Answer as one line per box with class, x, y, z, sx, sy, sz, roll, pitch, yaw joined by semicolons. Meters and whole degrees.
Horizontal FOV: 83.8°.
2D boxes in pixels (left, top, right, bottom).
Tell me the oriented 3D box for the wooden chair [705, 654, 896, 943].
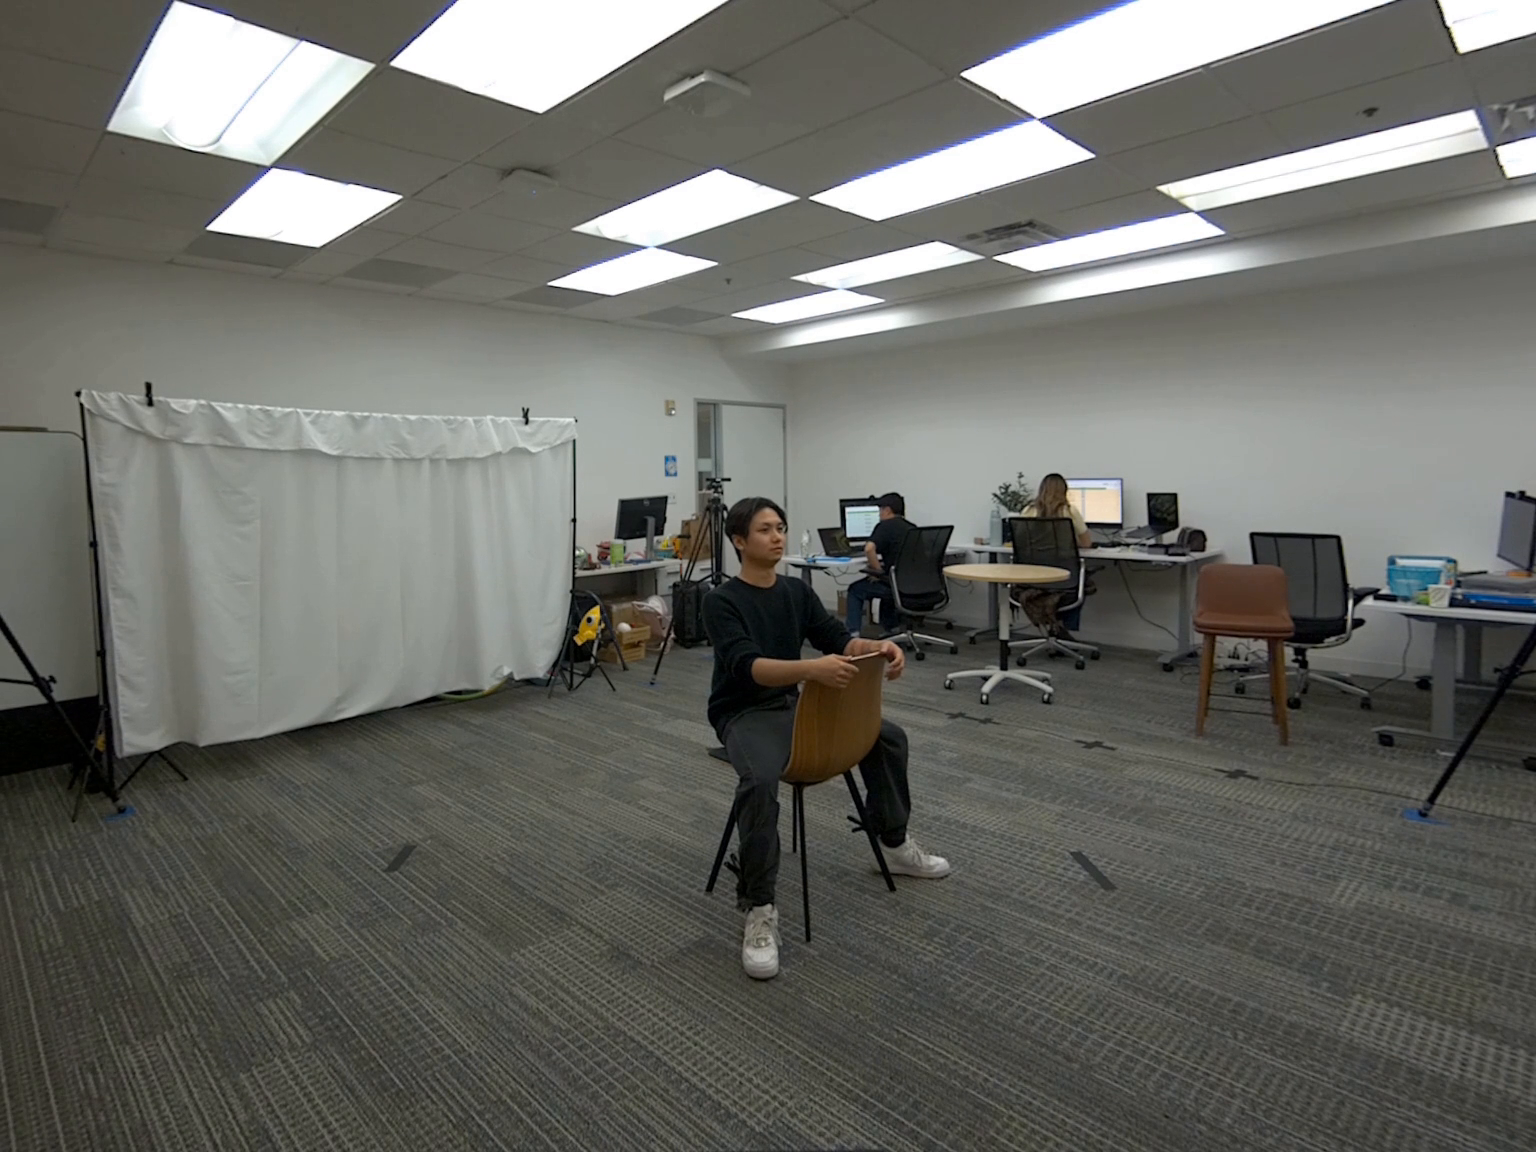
wooden chair;0.089;0.637;2.863;0.465;0.872;0.540;-5;10;-44
